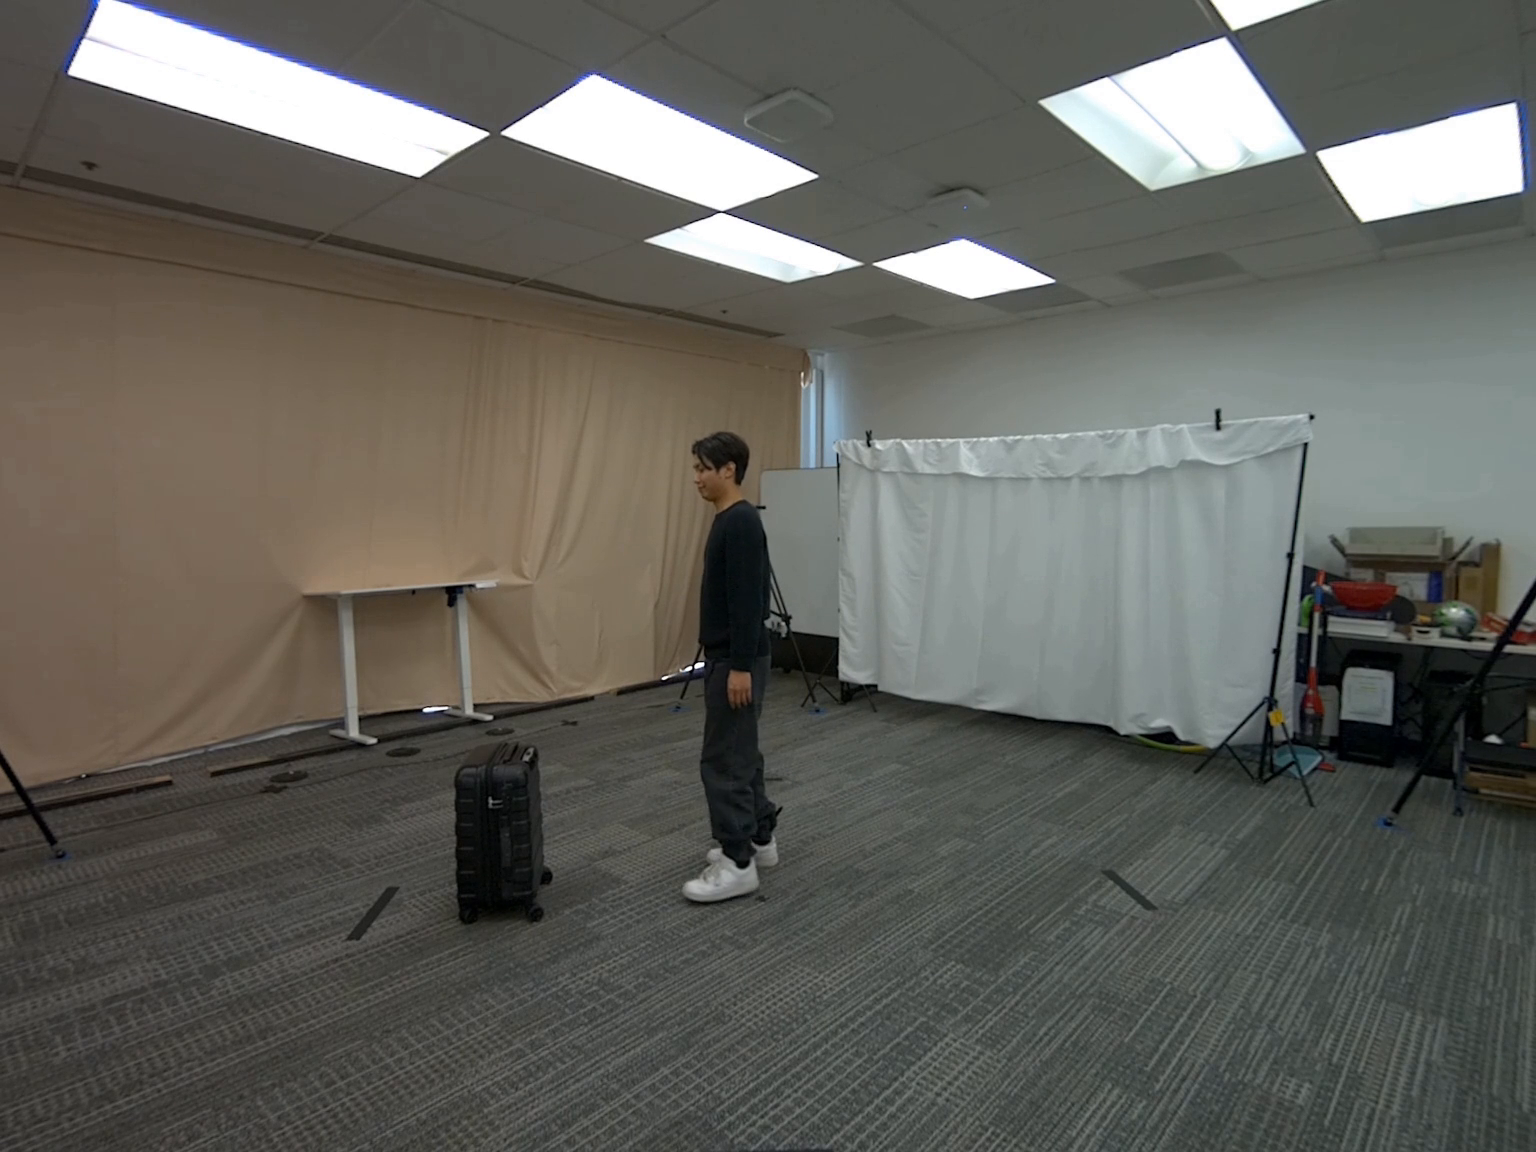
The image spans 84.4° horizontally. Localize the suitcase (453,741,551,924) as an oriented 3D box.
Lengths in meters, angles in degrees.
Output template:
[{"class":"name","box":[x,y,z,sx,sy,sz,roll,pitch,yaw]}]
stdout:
[{"class":"suitcase","box":[-0.932,0.877,2.955,0.247,0.548,0.378,-1,4,-6]}]
